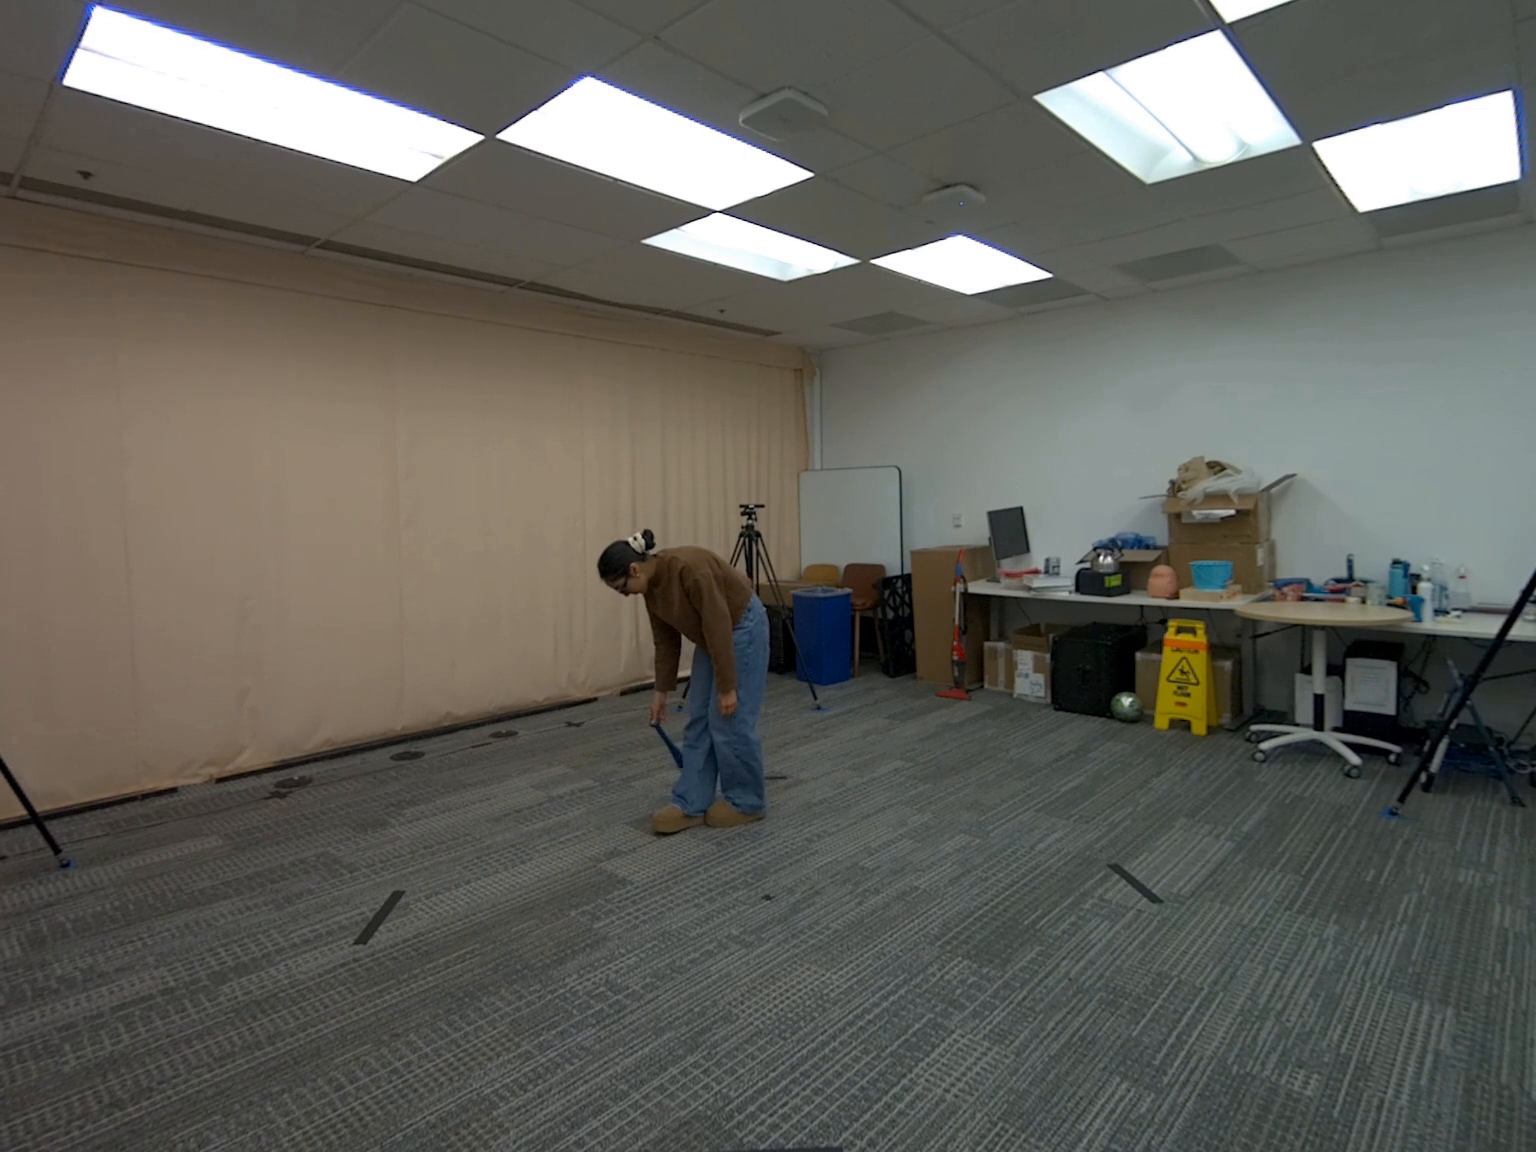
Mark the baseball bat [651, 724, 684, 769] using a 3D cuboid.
[{"bbox_3d":[-0.408,0.851,3.862,0.090,0.528,0.090,-25,30,14],"label":"baseball bat"}]
